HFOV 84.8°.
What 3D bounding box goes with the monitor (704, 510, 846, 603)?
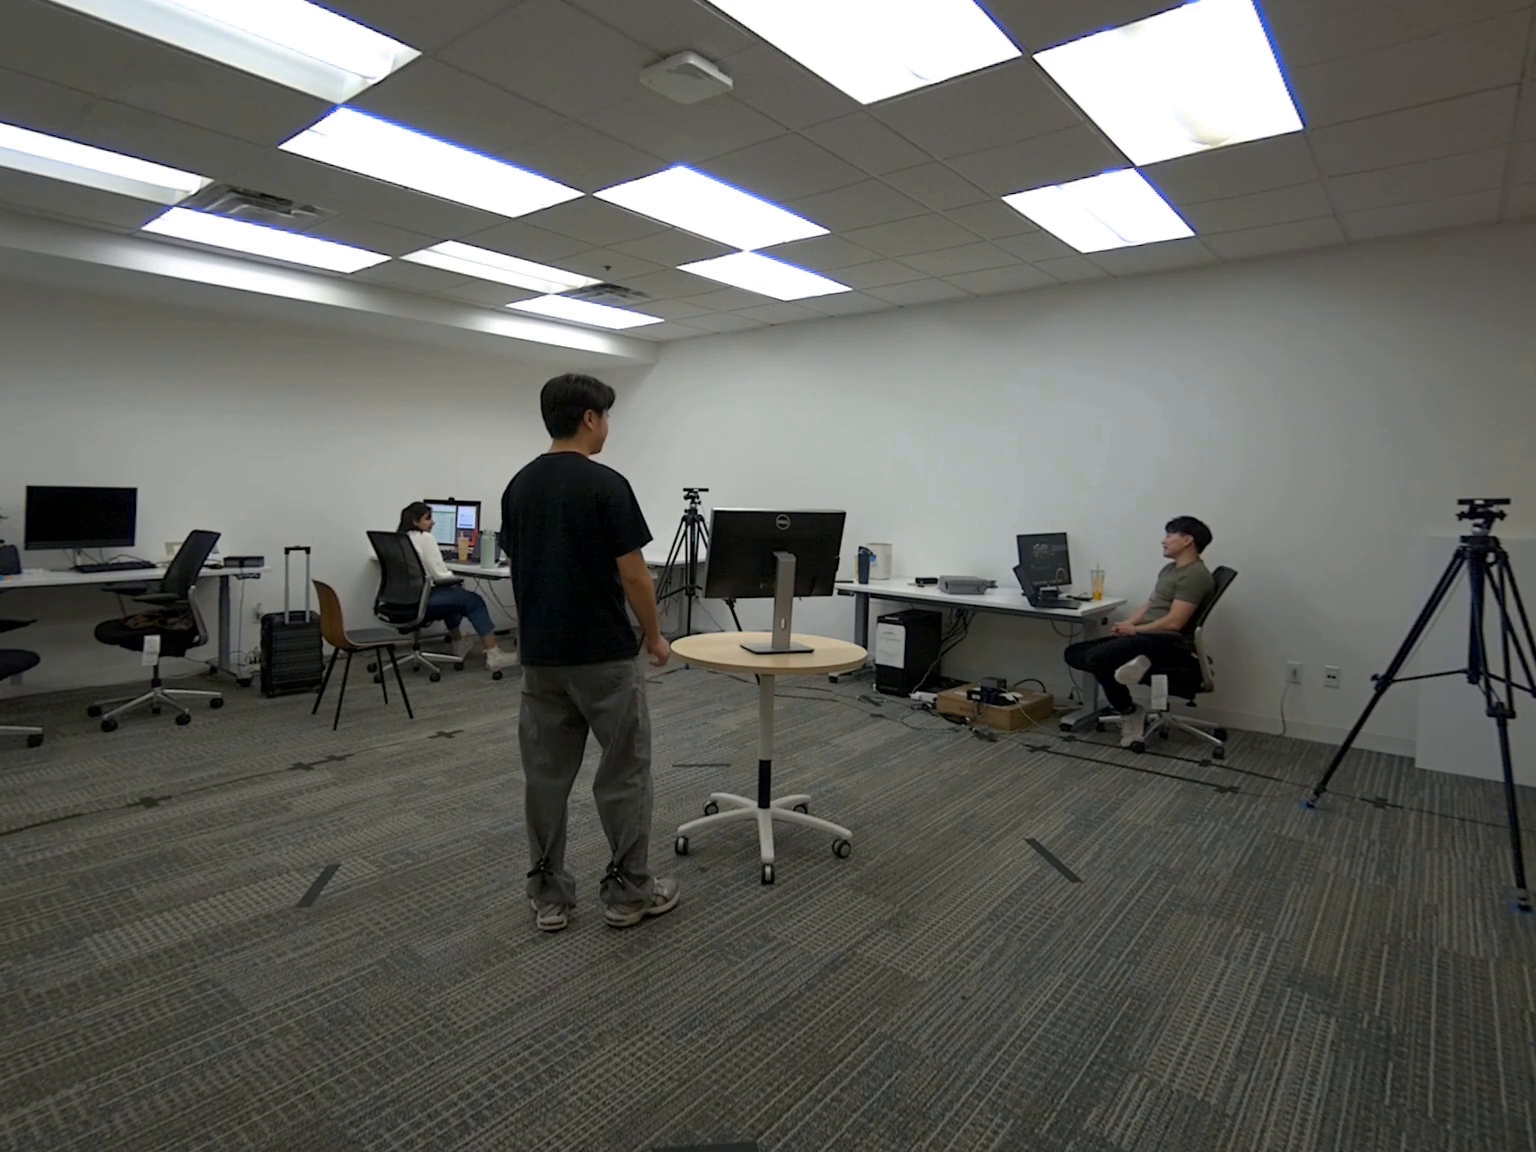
[{"bbox_3d":[0.028,0.017,3.301,0.552,0.565,0.226,1,2,-17],"label":"monitor"}]
